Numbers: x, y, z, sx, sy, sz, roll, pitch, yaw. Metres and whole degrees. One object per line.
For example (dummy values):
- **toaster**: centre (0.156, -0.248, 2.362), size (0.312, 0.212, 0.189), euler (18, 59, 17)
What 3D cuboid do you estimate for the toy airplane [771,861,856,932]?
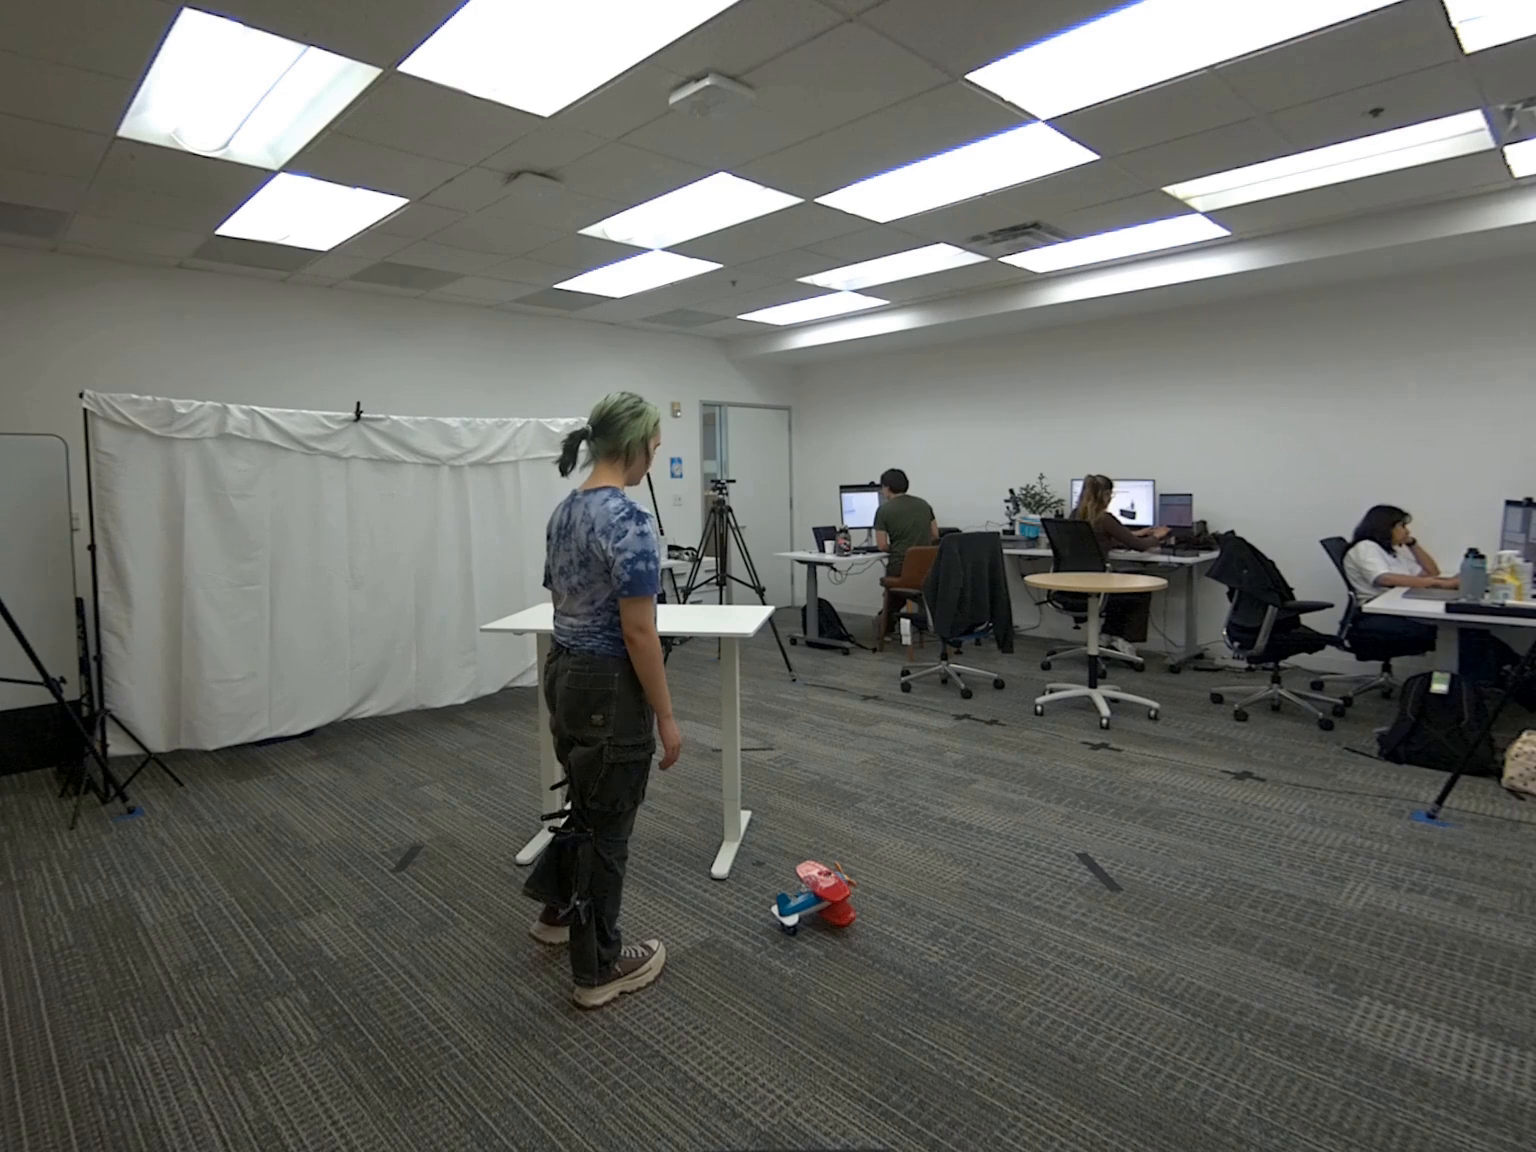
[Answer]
- **toy airplane**: centre (0.160, 1.019, 2.661), size (0.258, 0.156, 0.253), euler (4, 6, 35)
